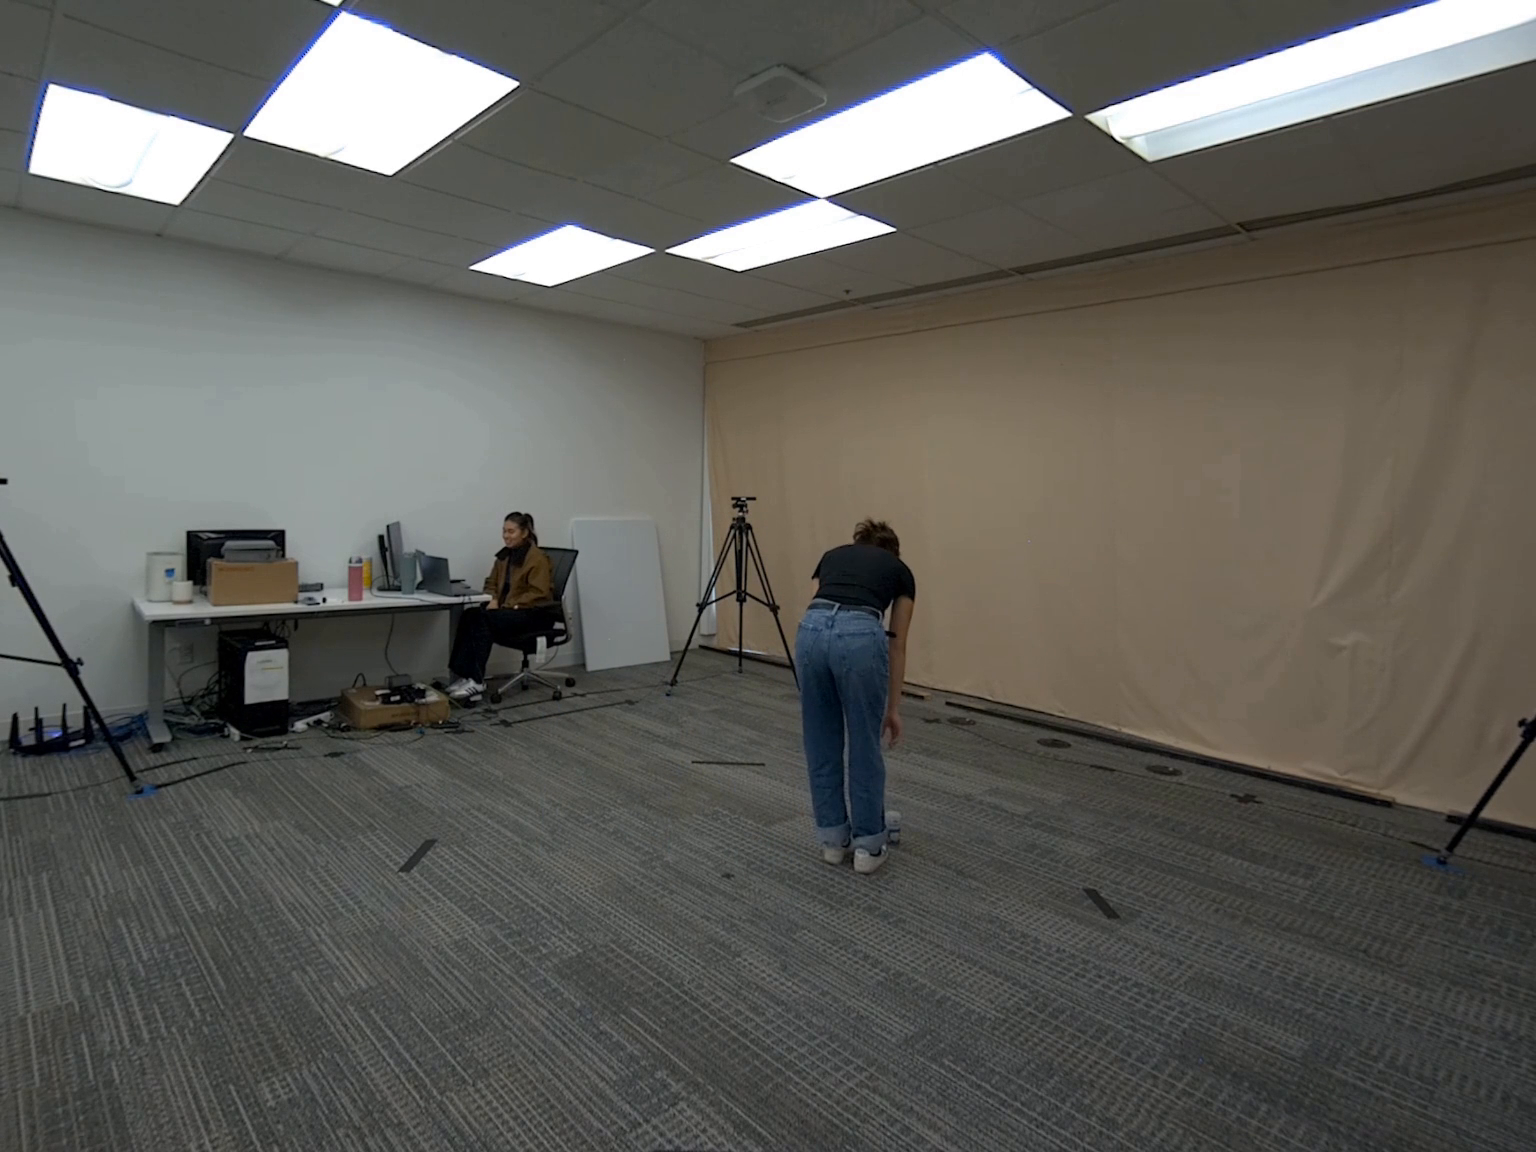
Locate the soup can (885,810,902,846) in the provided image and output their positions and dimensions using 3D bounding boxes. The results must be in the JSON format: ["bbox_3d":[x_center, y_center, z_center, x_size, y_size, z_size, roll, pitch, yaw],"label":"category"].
[{"bbox_3d":[0.505,1.036,3.450,0.067,0.121,0.067,4,2,-2],"label":"soup can"}]
